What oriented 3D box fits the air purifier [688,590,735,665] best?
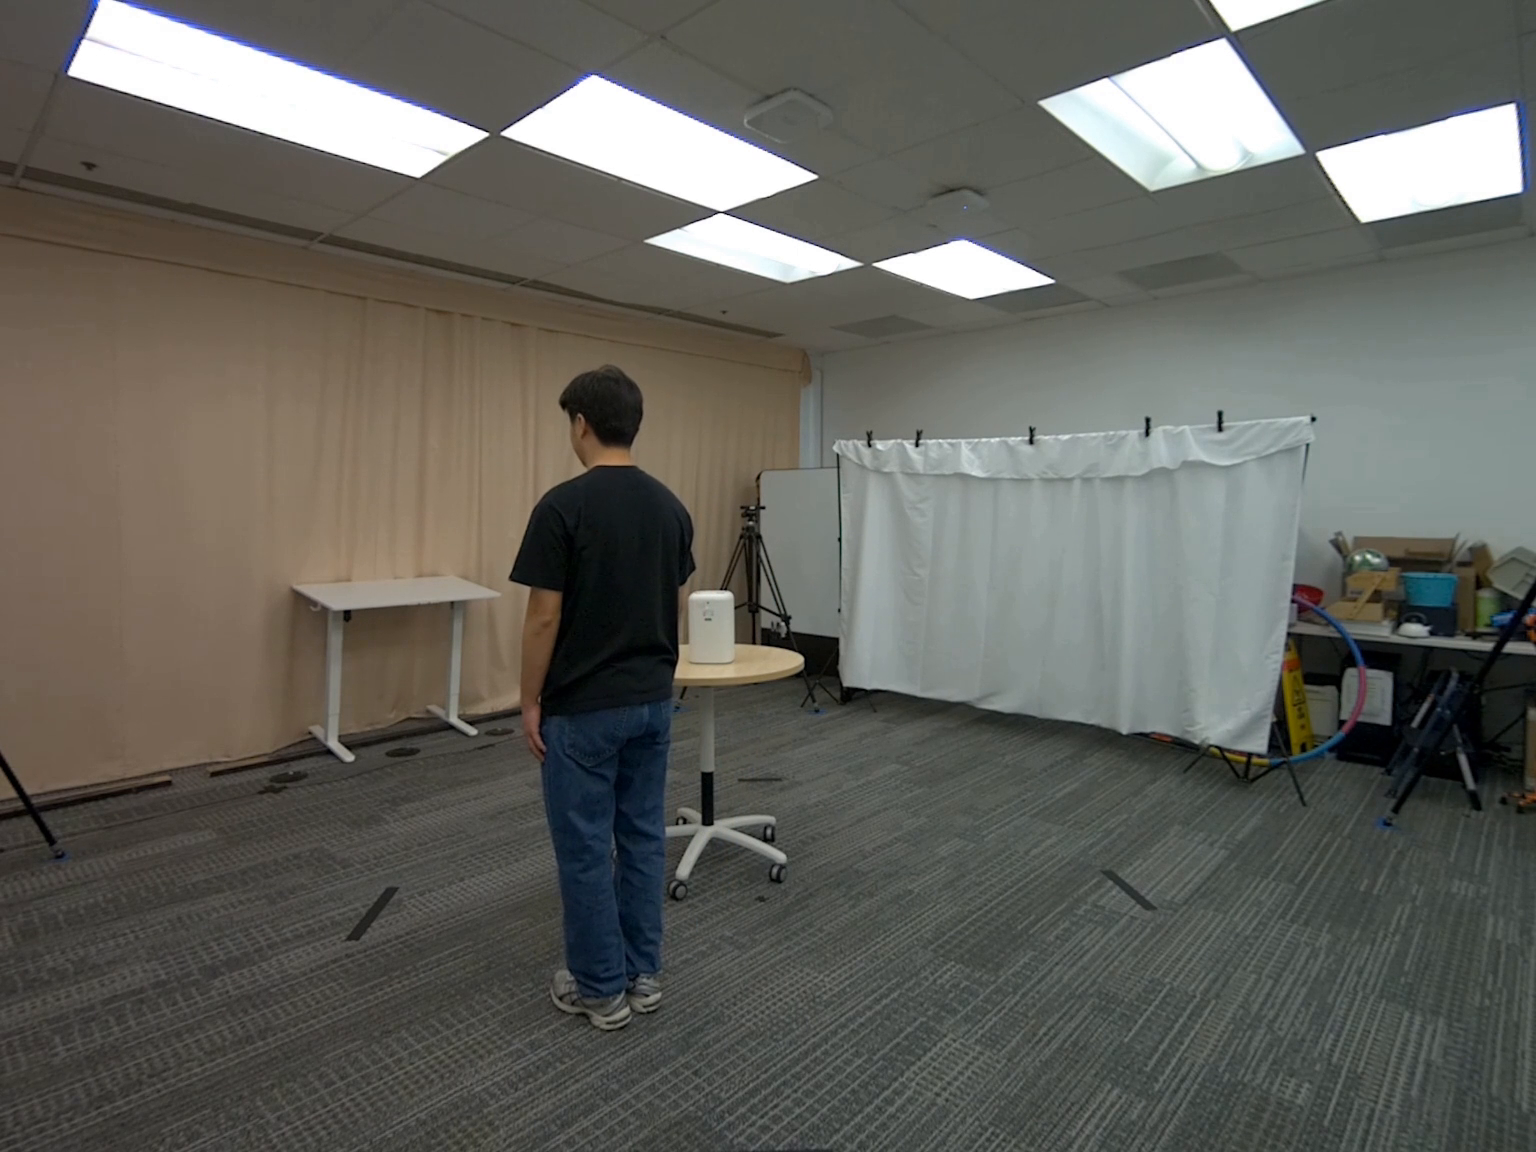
[{"bbox_3d":[-0.216,0.196,3.253,0.172,0.265,0.170,-1,4,7],"label":"air purifier"}]
